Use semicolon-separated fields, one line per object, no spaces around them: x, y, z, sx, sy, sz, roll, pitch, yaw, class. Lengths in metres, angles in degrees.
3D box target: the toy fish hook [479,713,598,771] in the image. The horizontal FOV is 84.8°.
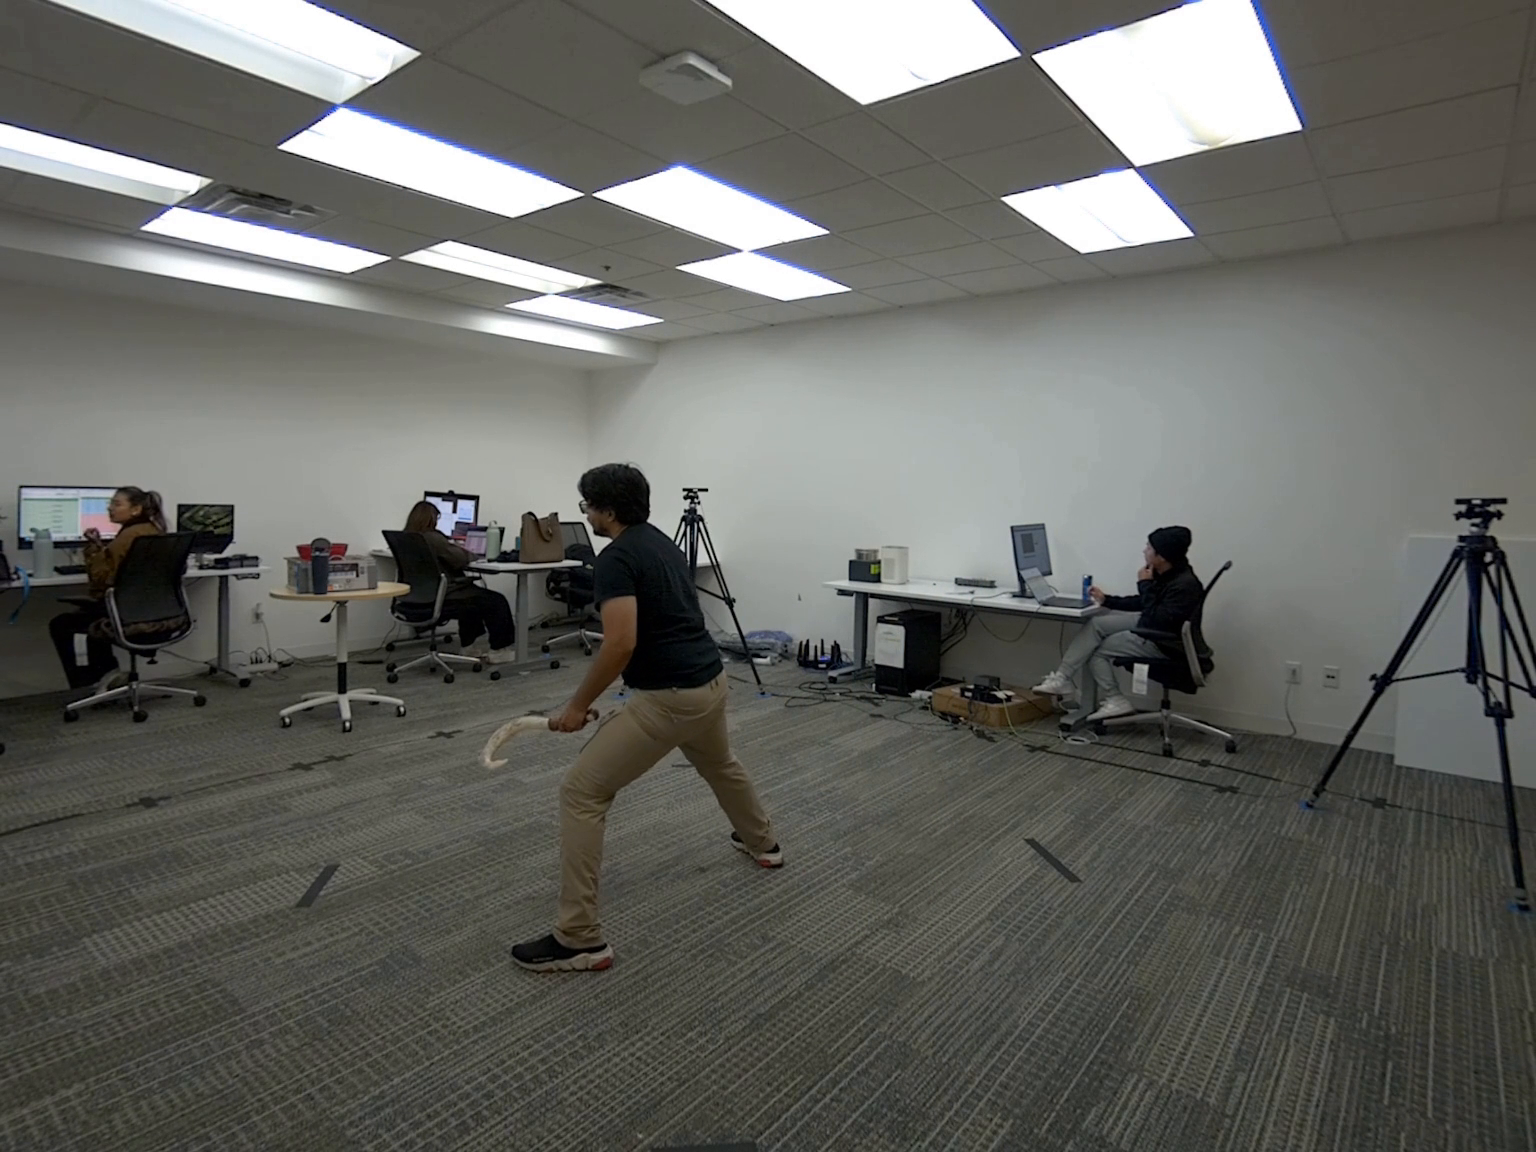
-0.766;0.522;2.742;0.516;0.047;0.228;-18;34;33;toy fish hook
